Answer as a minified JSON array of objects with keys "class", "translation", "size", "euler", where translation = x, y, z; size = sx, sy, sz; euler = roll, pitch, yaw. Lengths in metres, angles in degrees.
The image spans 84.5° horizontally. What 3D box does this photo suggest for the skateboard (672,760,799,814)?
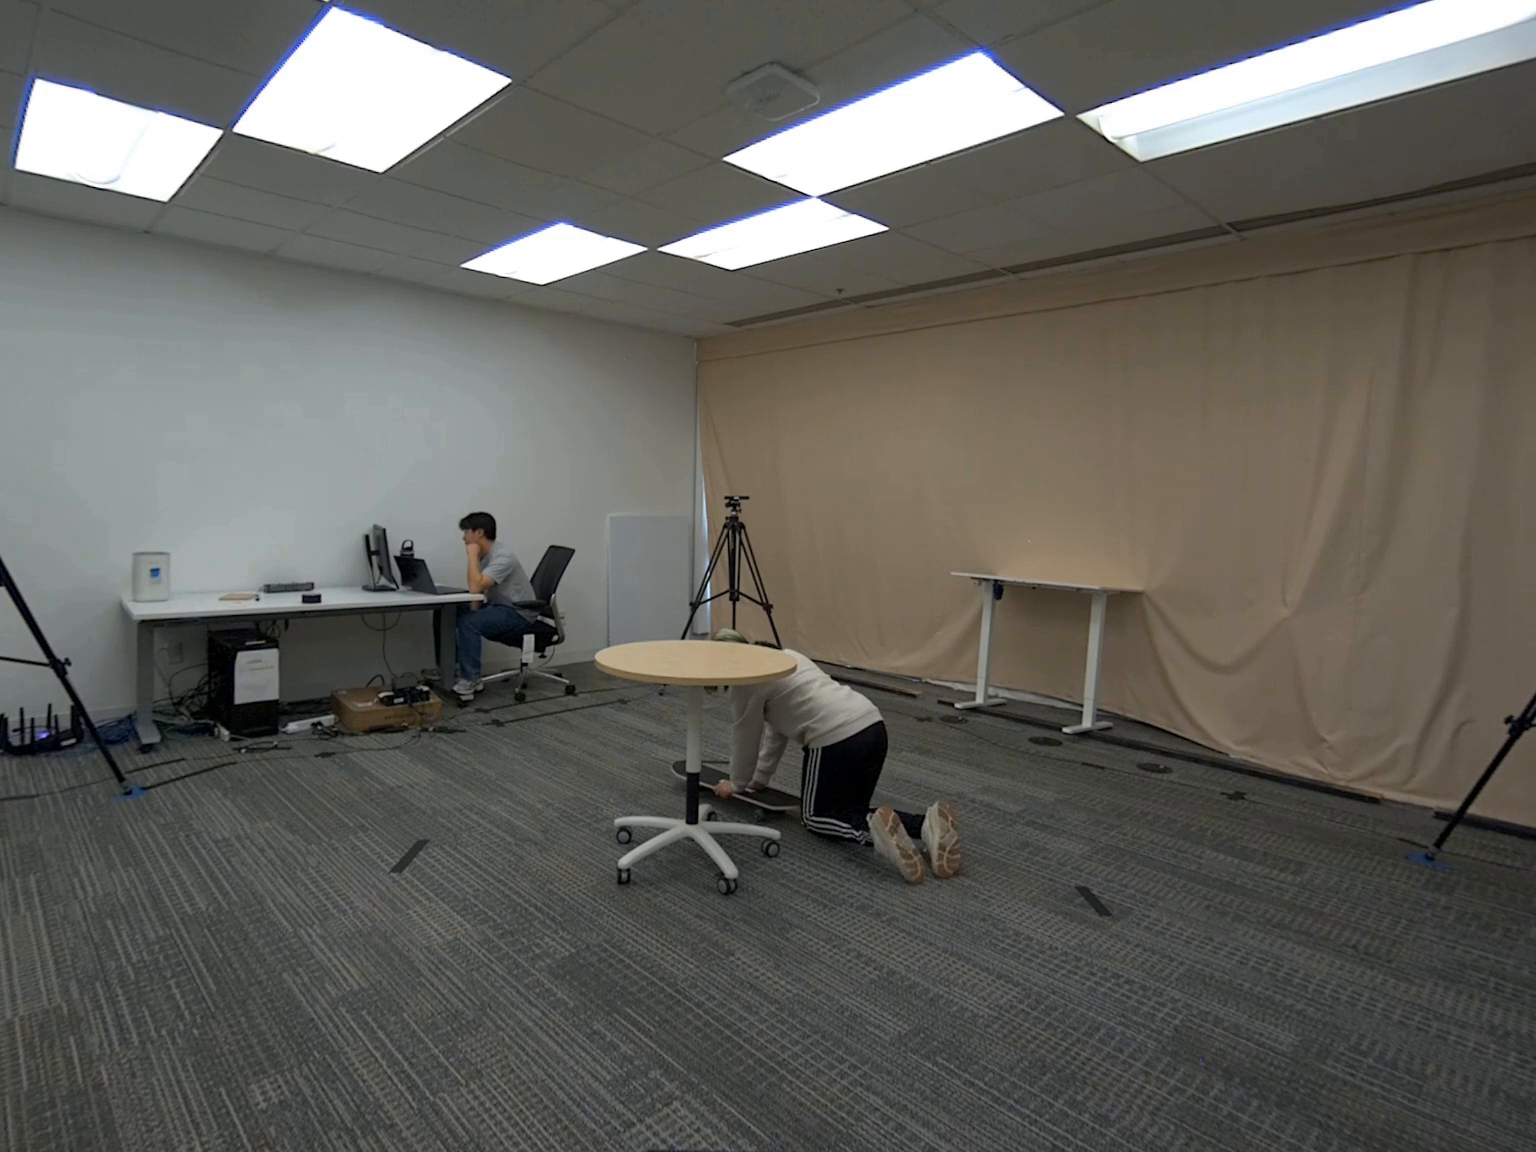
[{"class":"skateboard","translation":[-0.149,0.985,3.838],"size":[0.806,0.110,0.189],"euler":[7,5,41]}]
